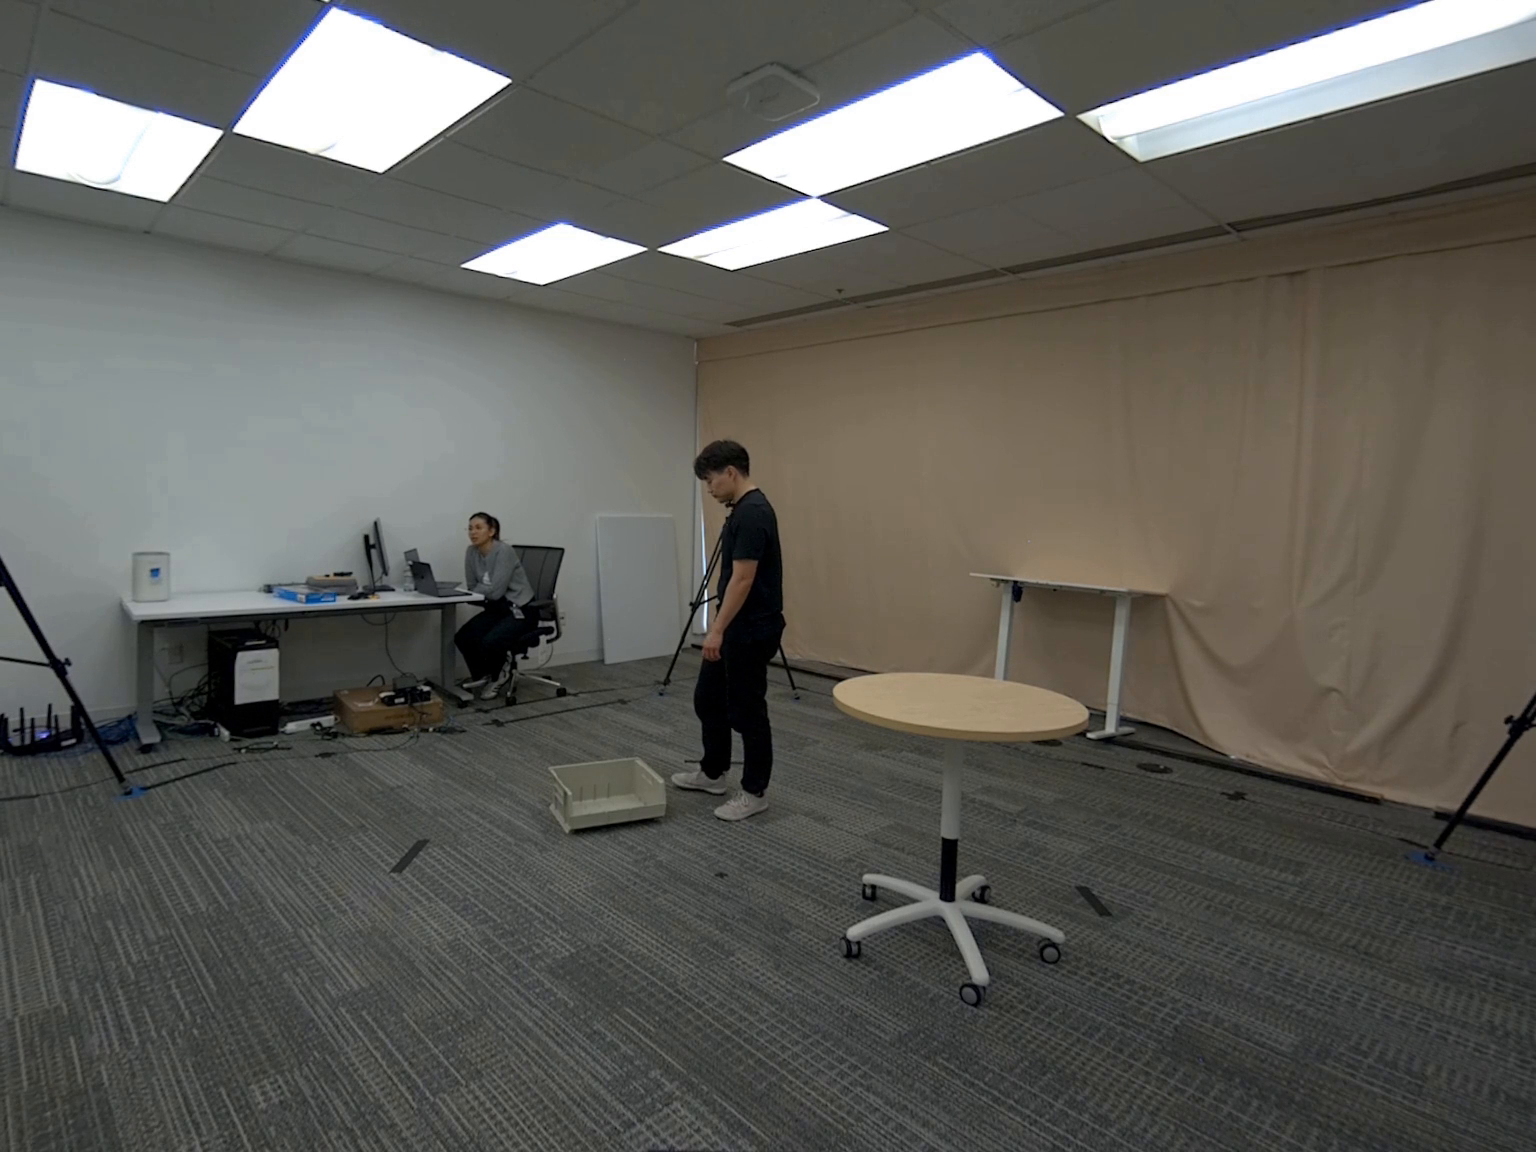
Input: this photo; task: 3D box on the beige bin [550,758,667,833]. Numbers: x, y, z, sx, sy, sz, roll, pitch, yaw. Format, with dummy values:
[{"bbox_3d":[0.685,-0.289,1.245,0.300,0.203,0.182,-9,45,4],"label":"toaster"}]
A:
[{"bbox_3d":[-0.717,0.954,3.658,0.414,0.188,0.385,-2,5,-27],"label":"beige bin"}]
